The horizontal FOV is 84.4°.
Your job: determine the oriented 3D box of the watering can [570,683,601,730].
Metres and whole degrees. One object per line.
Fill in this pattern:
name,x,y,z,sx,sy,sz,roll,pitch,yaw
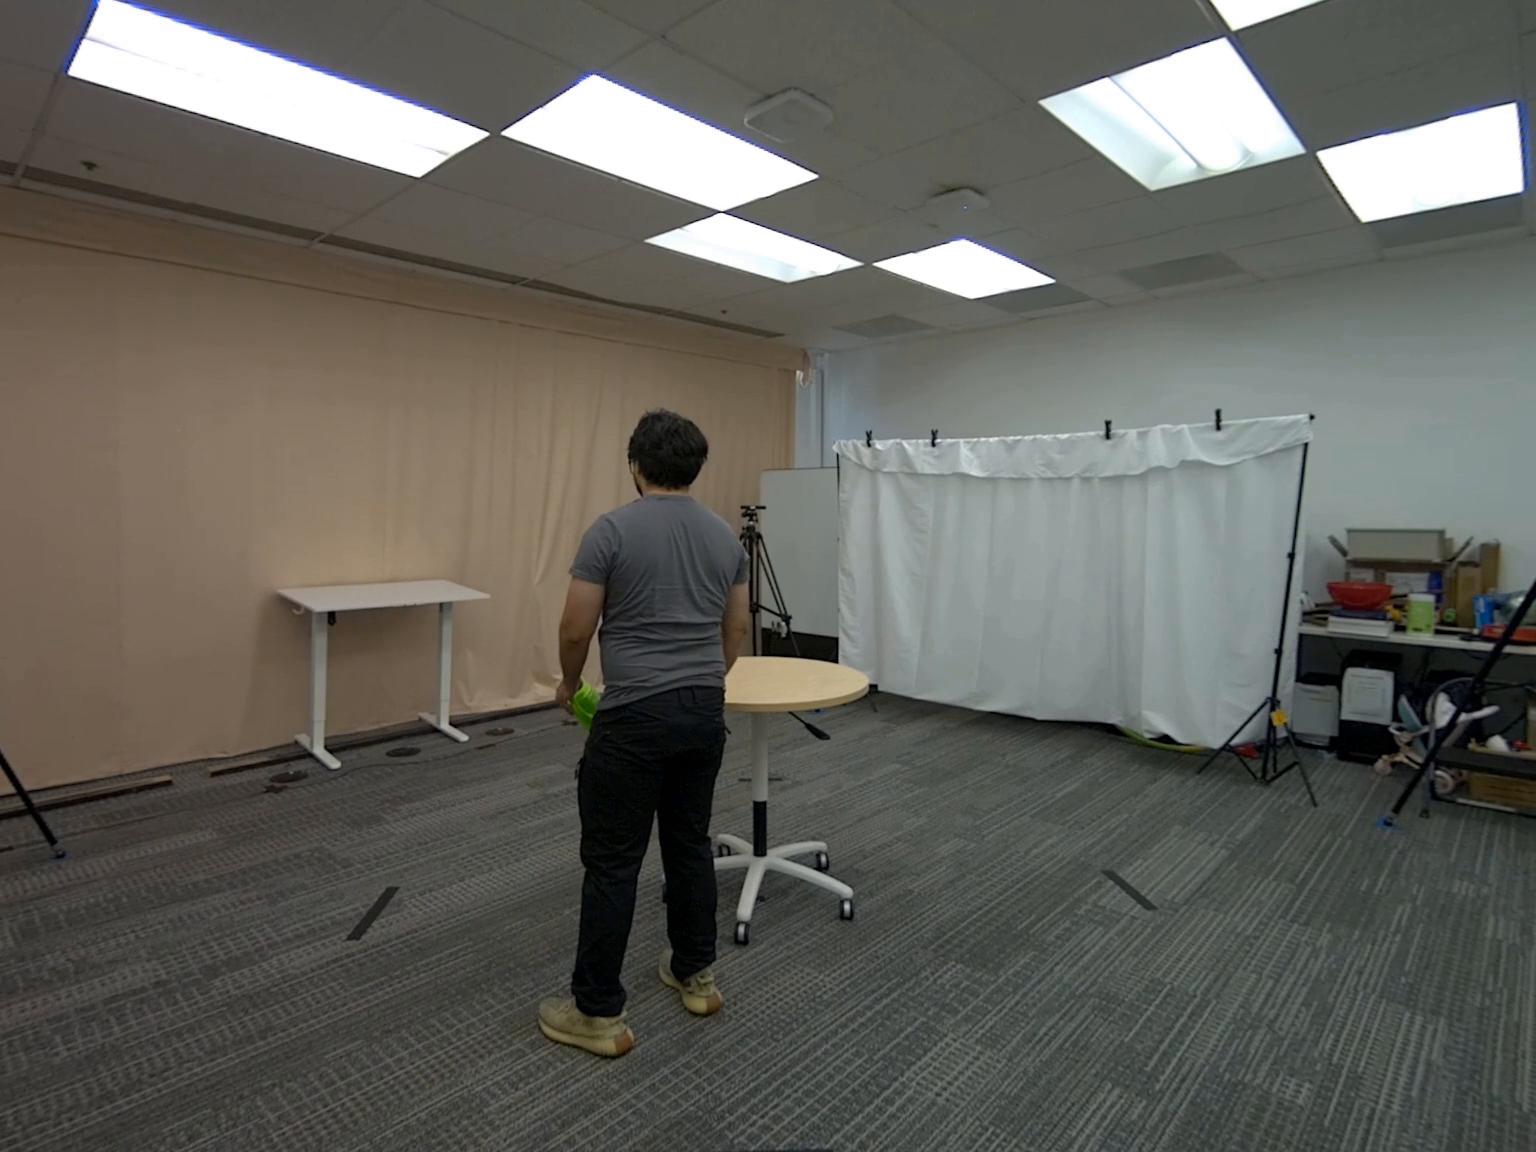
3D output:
watering can,-0.548,0.377,2.551,0.099,0.173,0.282,-33,20,13
